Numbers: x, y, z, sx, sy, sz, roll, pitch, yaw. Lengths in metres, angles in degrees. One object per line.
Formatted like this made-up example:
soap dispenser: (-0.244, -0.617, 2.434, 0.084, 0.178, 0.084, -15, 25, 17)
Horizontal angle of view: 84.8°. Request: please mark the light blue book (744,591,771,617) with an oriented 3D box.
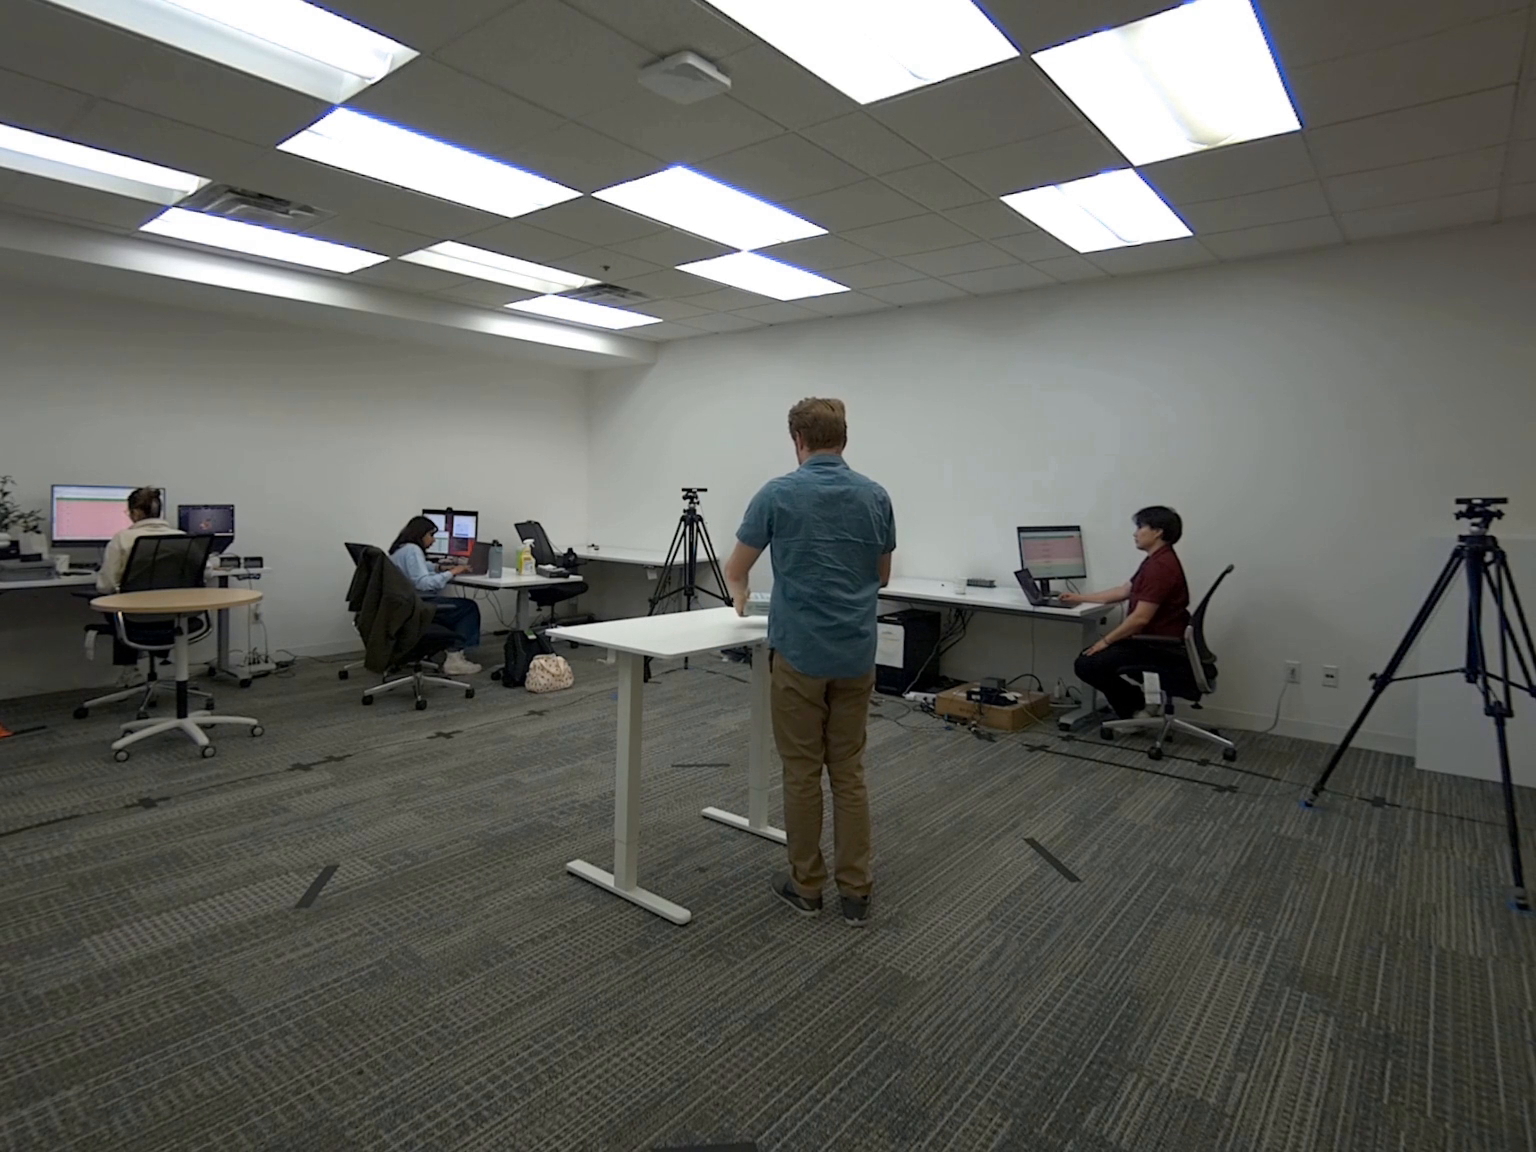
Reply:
light blue book: (0.027, 0.097, 3.181, 0.260, 0.058, 0.193, 1, 8, -3)
